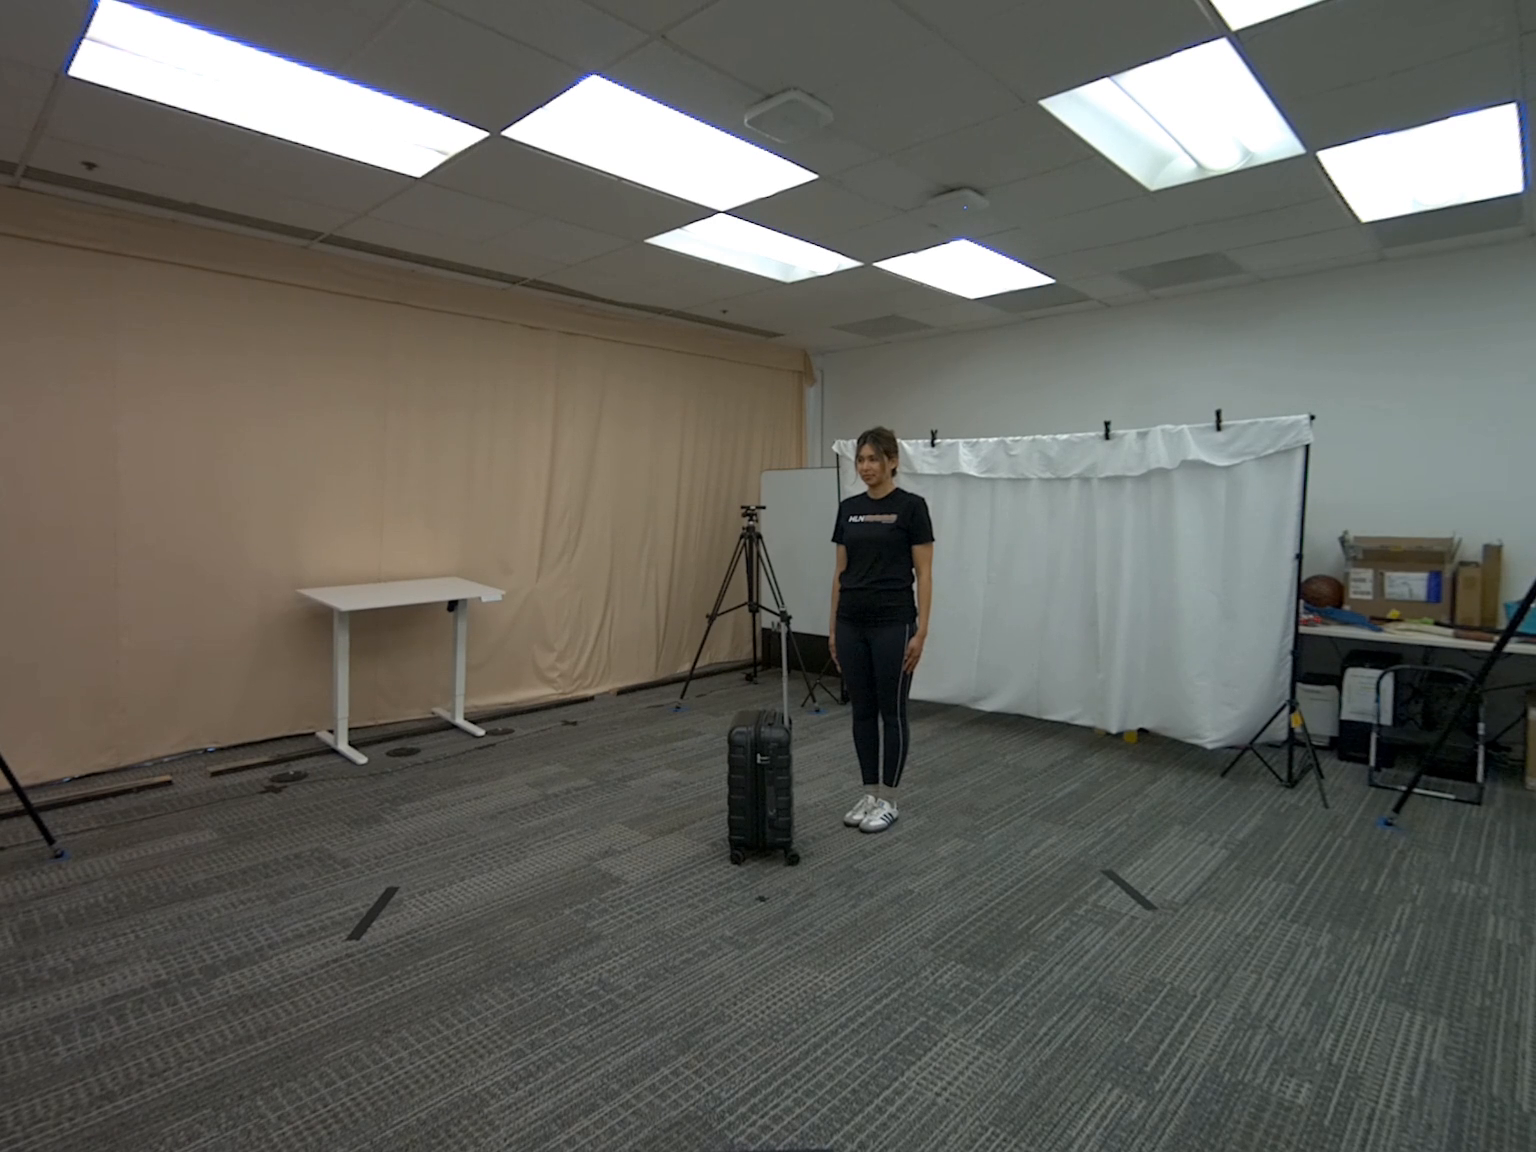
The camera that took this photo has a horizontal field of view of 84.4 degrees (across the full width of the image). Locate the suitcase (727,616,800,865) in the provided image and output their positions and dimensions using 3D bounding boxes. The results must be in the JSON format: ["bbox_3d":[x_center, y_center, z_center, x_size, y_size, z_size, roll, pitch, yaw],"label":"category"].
[{"bbox_3d":[-0.032,0.629,3.400,0.258,0.977,0.384,-2,3,1],"label":"suitcase"}]
